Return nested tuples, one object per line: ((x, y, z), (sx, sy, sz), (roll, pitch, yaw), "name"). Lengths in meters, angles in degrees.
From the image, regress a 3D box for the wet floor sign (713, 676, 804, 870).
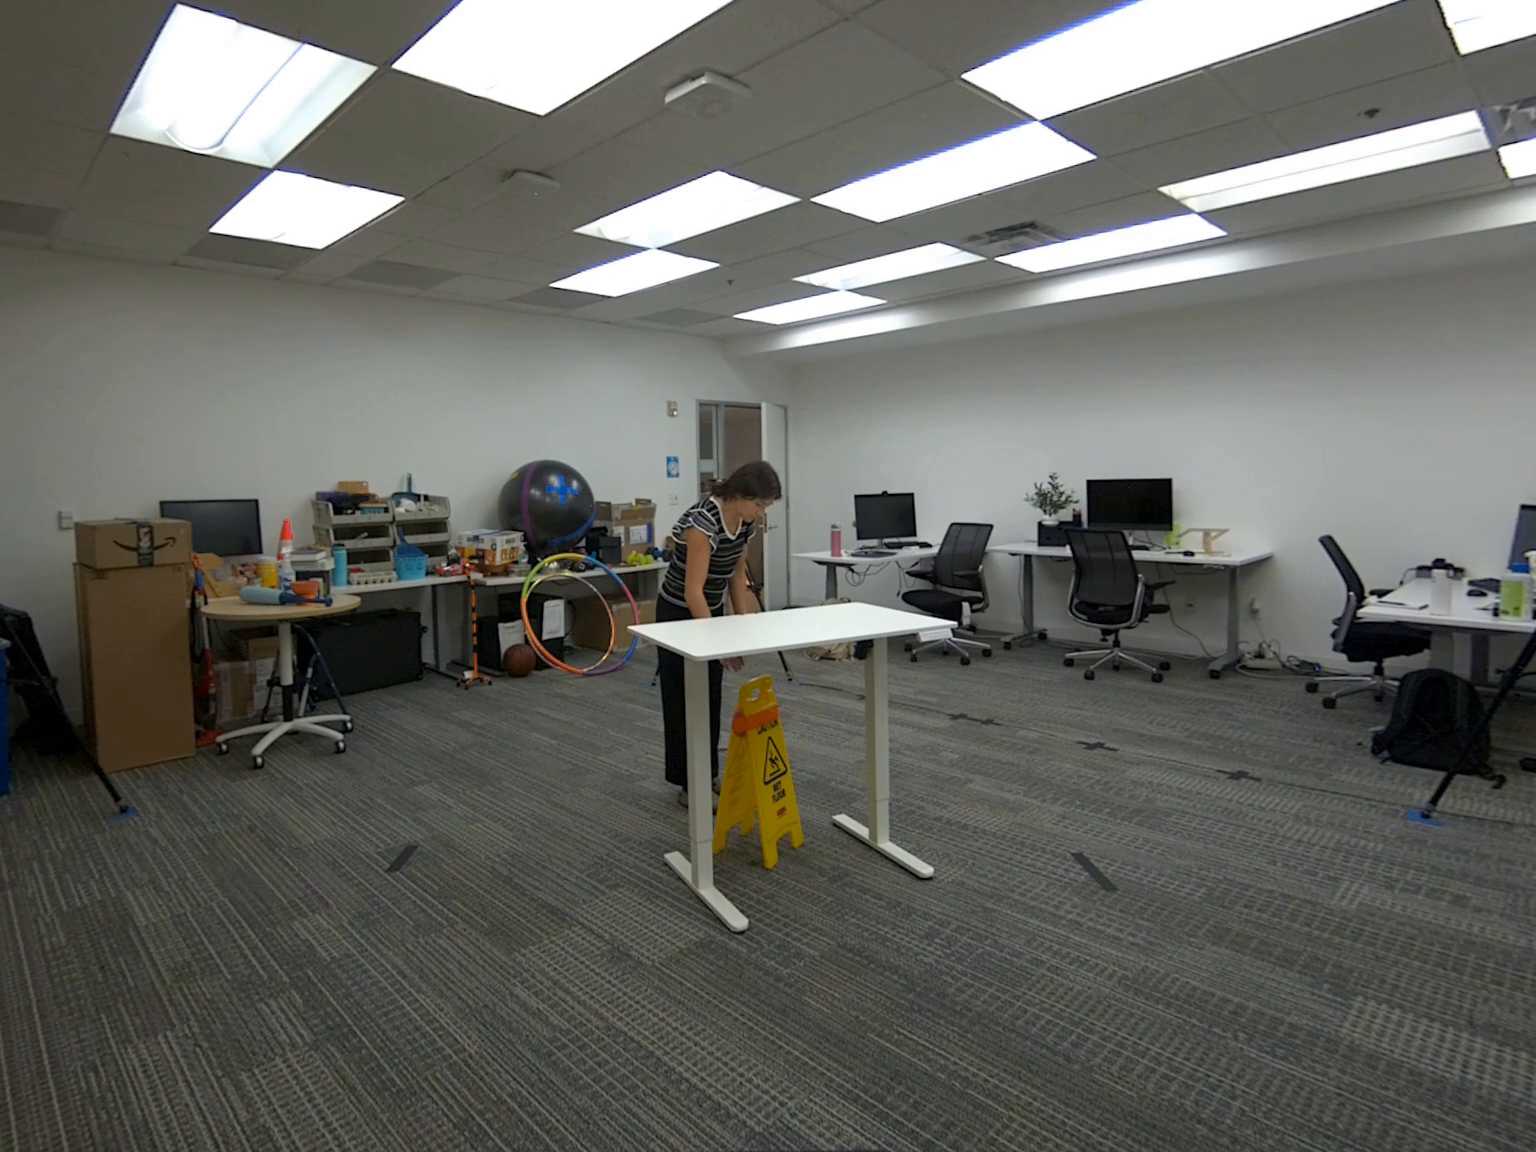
((-0.040, 0.706, 3.213), (0.298, 0.644, 0.275), (2, 5, 33), "wet floor sign")
